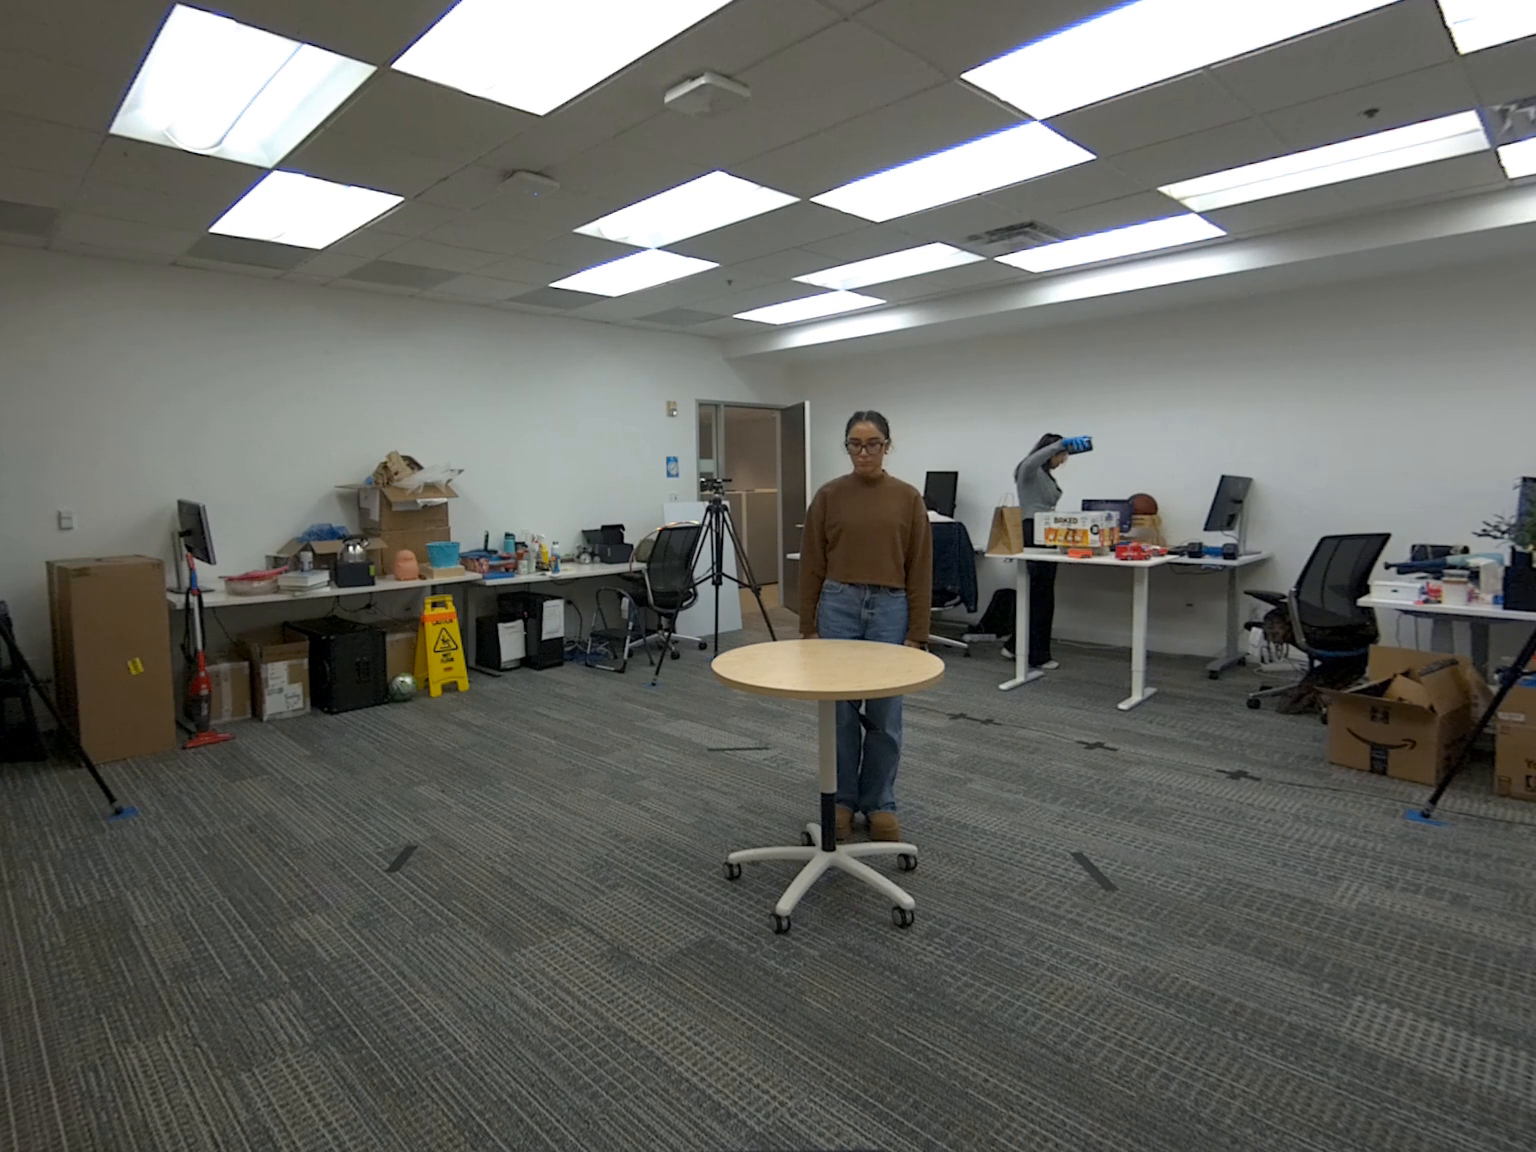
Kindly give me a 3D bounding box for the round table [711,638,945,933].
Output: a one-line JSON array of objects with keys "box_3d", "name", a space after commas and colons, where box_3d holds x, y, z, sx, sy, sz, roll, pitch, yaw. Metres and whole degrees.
[{"box_3d": [0.204, 0.678, 2.875, 0.763, 0.791, 0.768, -1, 5, -2], "name": "round table"}]
